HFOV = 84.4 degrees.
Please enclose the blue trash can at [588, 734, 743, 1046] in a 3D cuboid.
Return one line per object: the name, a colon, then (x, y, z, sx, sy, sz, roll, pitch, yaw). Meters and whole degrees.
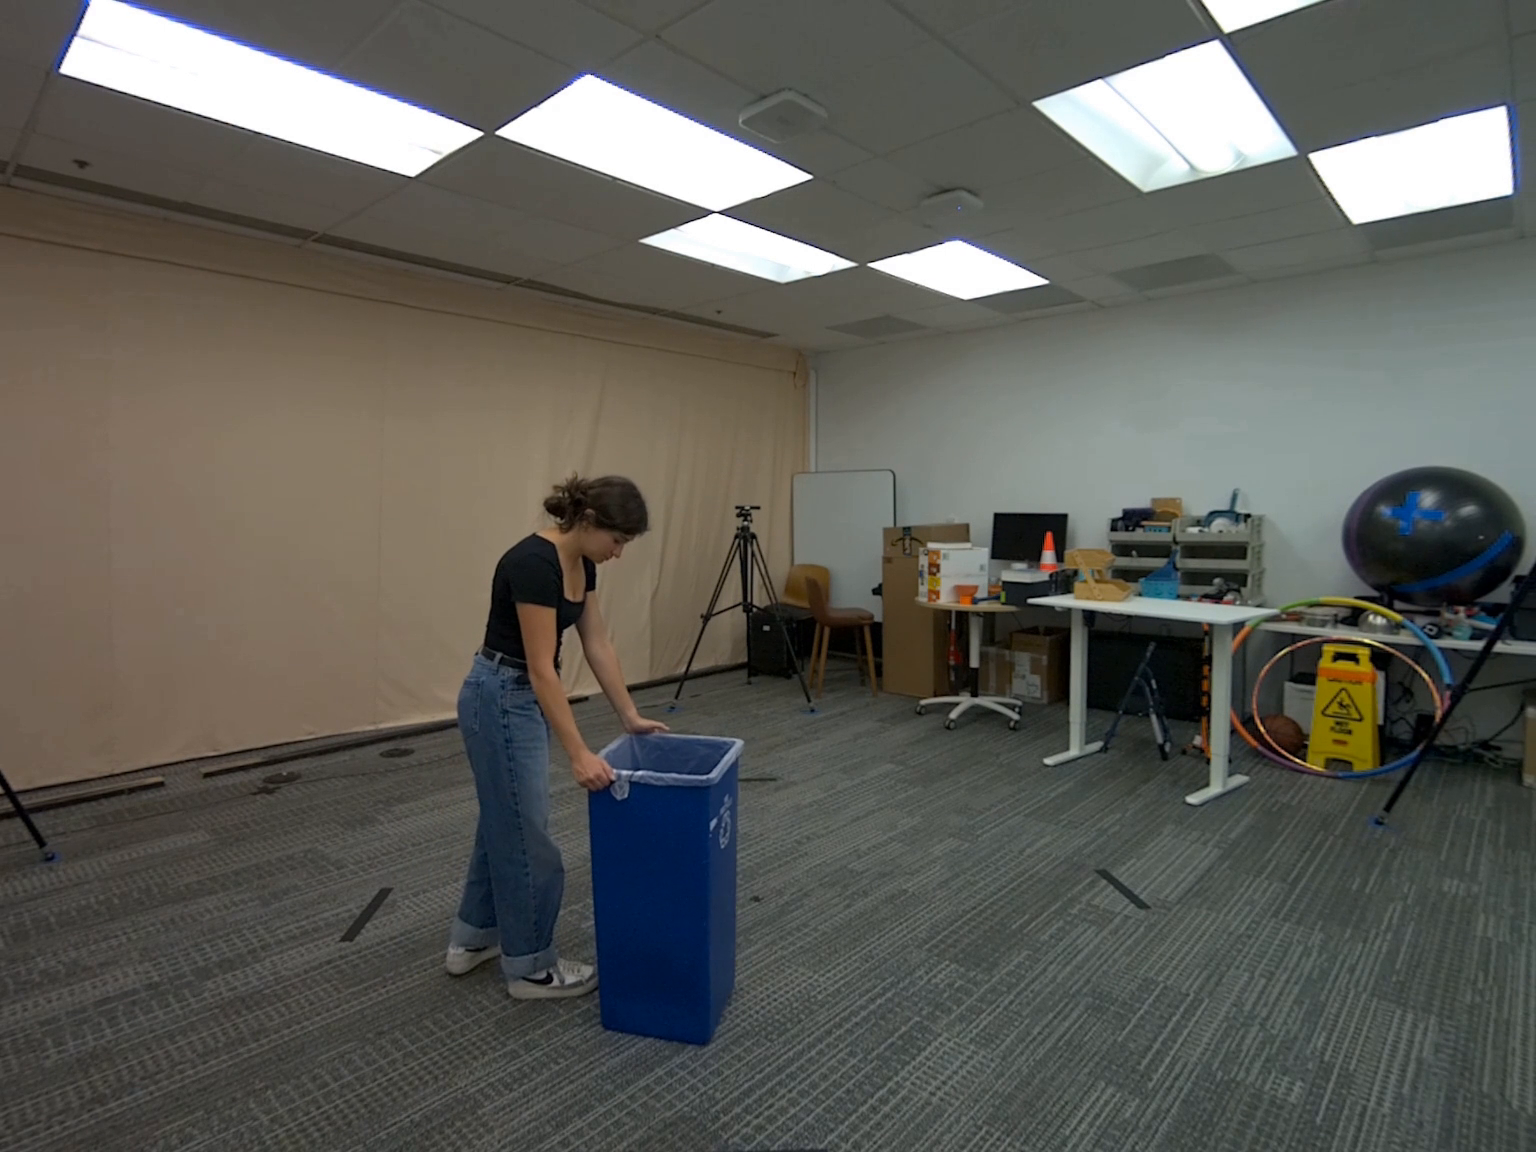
blue trash can: (-0.276, 0.845, 2.326, 0.383, 0.711, 0.370, 0, 5, 12)
